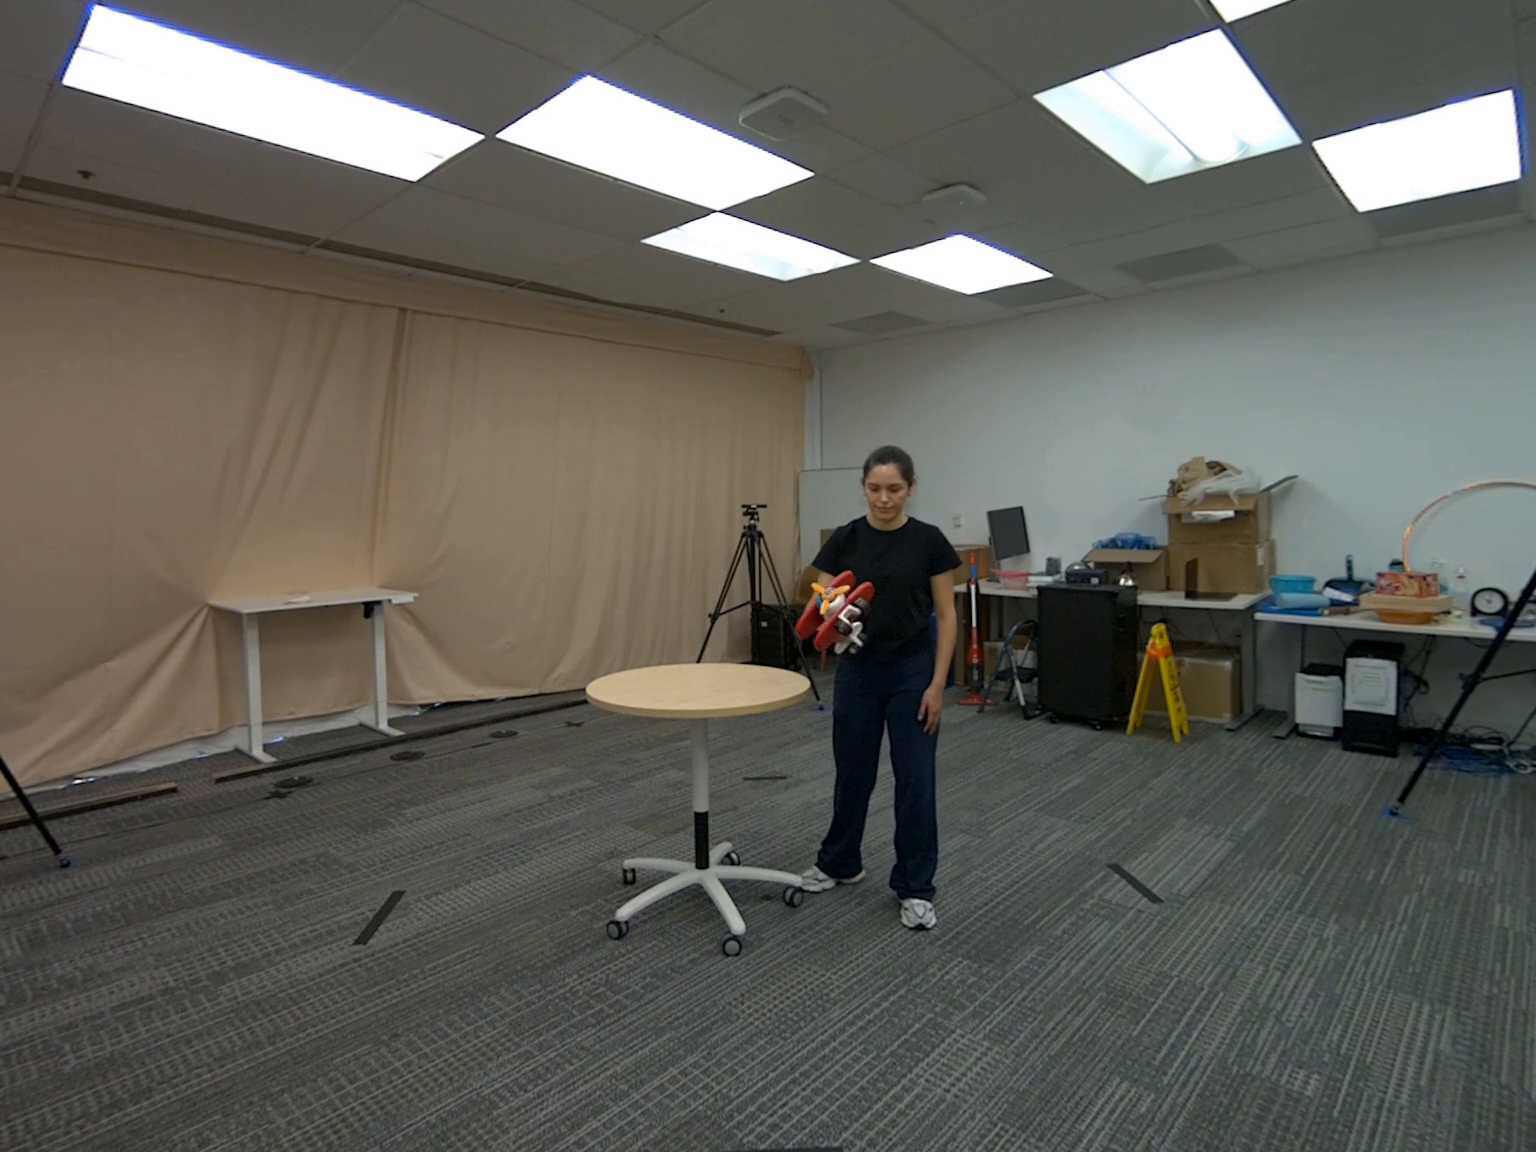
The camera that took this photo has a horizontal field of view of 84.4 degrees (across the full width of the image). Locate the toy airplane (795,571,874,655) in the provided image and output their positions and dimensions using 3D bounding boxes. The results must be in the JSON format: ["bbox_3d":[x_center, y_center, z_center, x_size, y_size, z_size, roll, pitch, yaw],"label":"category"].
[{"bbox_3d":[0.195,0.141,2.536,0.161,0.256,0.246,38,47,26],"label":"toy airplane"}]
